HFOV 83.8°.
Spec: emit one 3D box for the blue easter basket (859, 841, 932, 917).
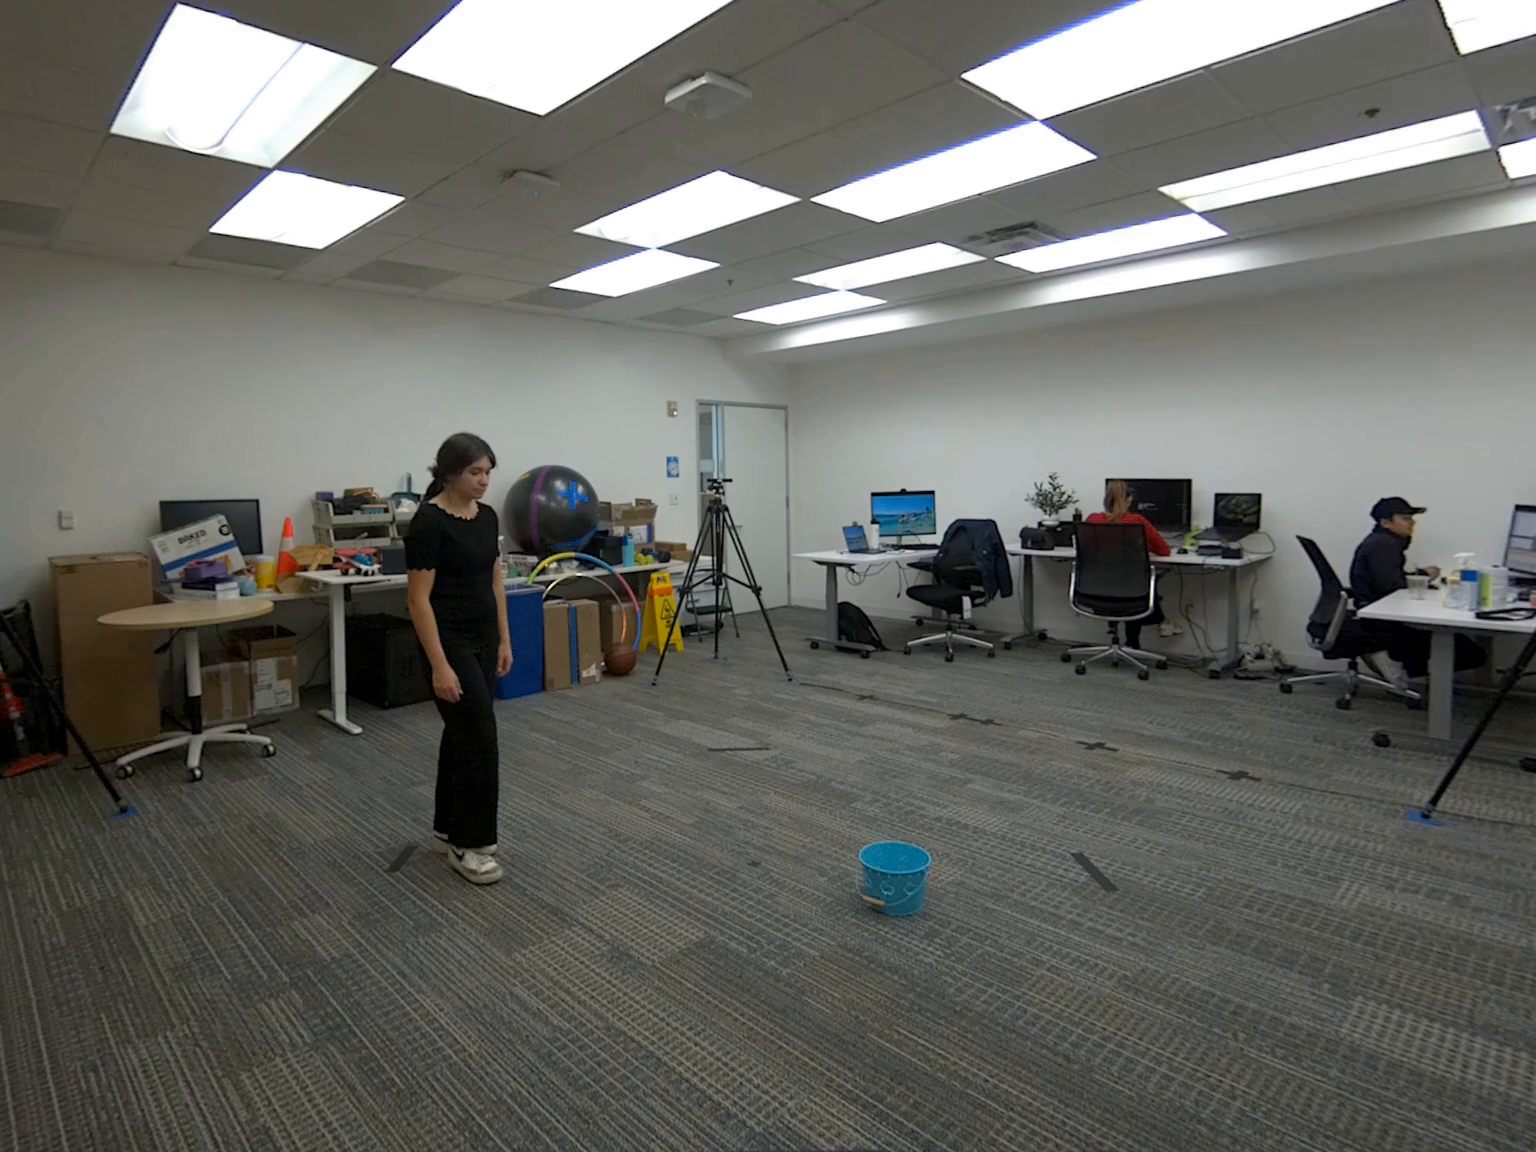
[{"bbox_3d":[0.408,0.985,2.807,0.243,0.155,0.245,-1,5,-2],"label":"blue easter basket"}]
